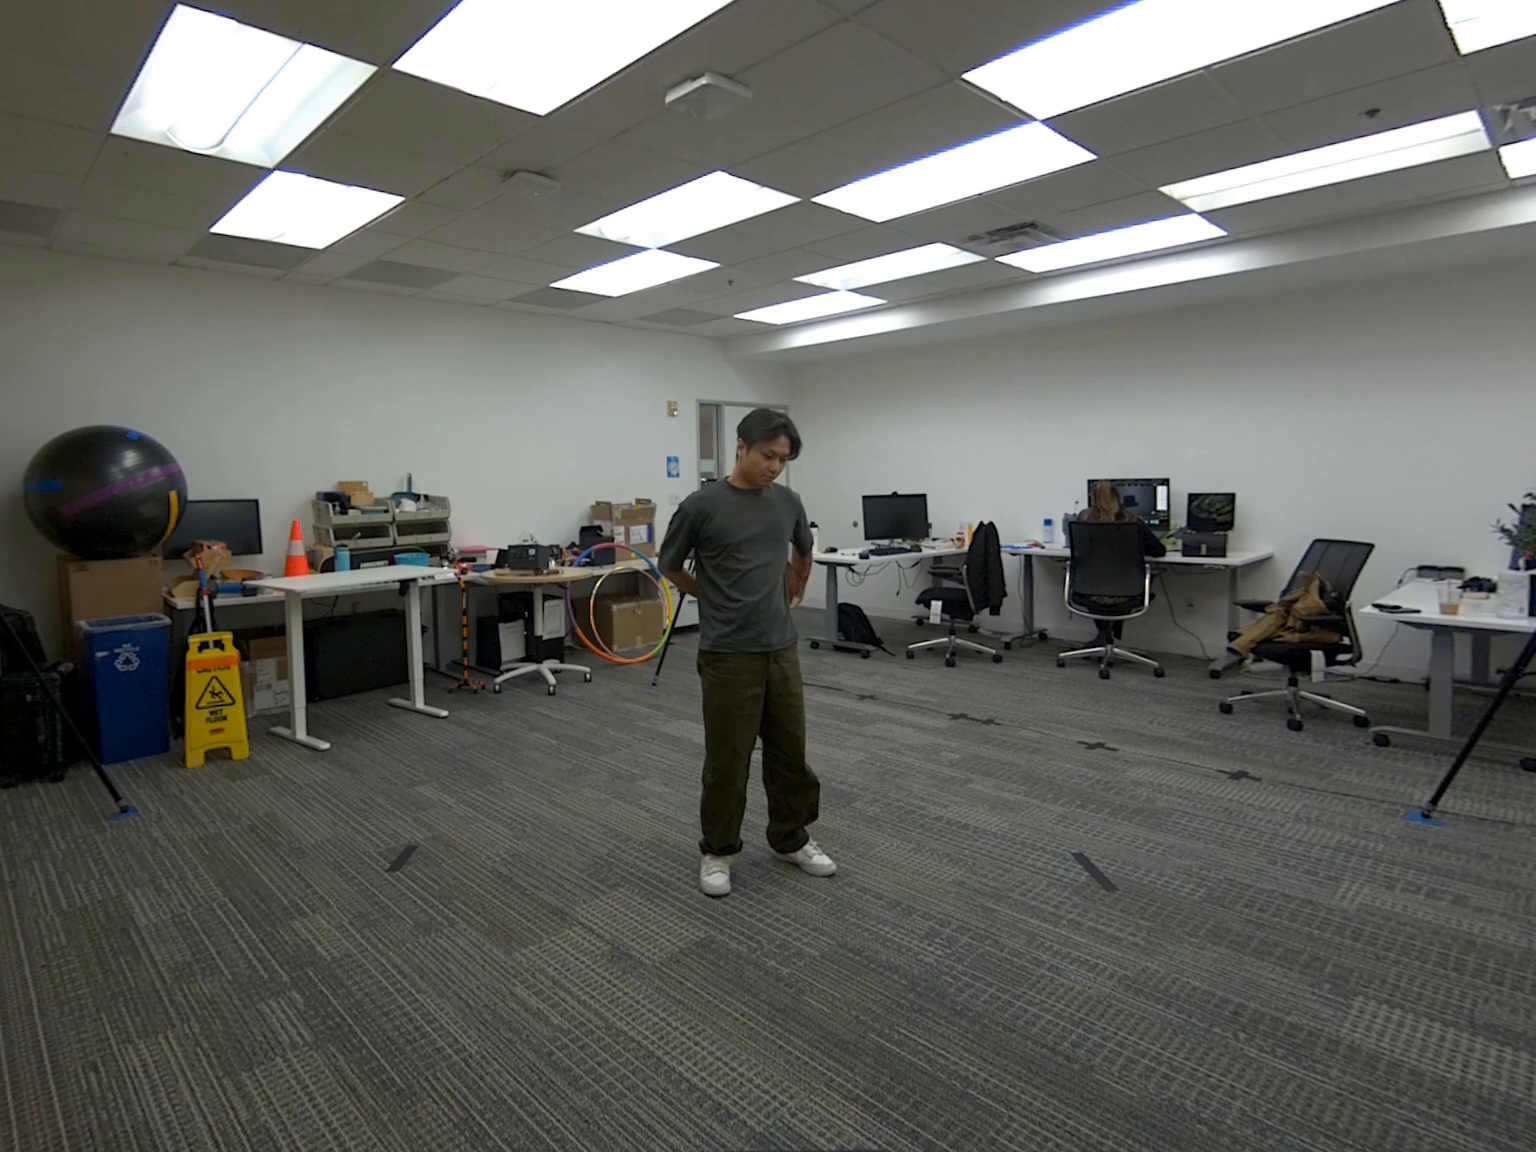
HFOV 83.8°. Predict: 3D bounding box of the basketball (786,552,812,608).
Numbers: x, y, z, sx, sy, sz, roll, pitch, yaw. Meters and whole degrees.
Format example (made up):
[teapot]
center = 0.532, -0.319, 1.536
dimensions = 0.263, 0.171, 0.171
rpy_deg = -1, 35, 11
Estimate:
[basketball]
center = 0.004, 0.028, 3.260
dimensions = 0.236, 0.235, 0.237
rpy_deg = -1, 5, -2
